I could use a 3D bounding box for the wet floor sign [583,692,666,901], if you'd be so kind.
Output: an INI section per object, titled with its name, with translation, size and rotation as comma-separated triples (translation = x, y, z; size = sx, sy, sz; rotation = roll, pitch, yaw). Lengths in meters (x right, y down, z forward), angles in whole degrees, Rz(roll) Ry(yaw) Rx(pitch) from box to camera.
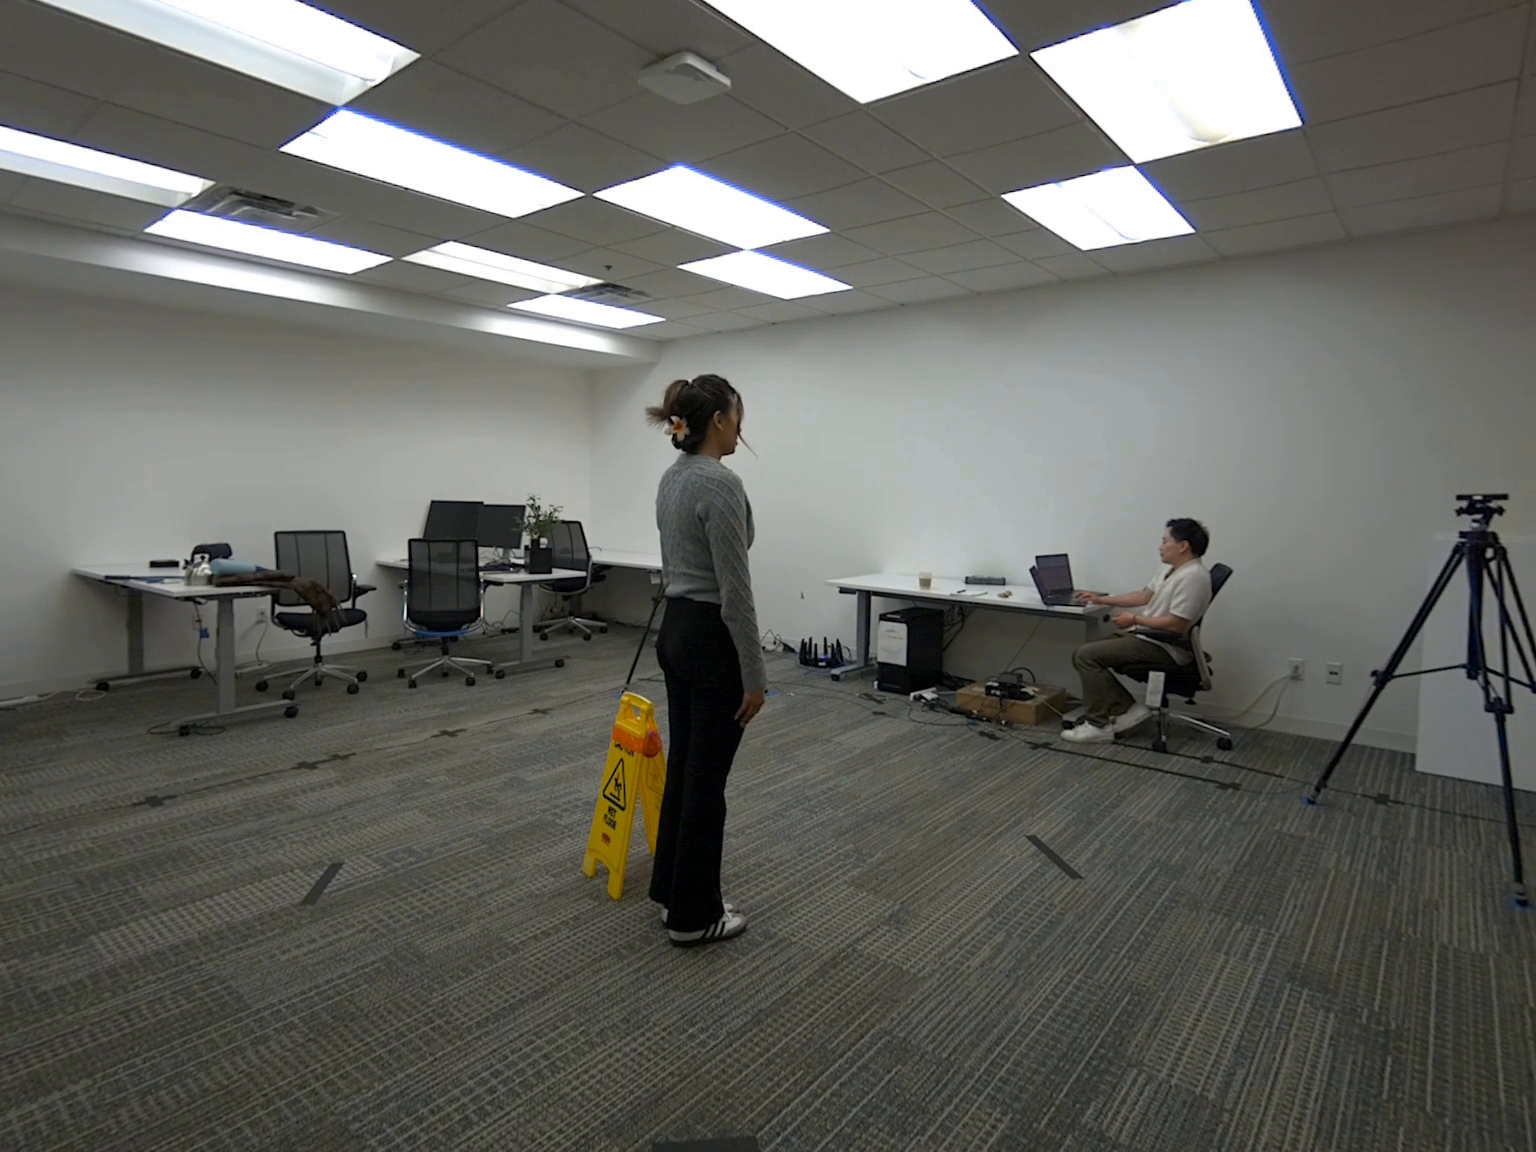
[wet floor sign]
translation = -0.478, 0.746, 3.027
size = 0.281, 0.644, 0.291
rotation = -1, 4, -36
